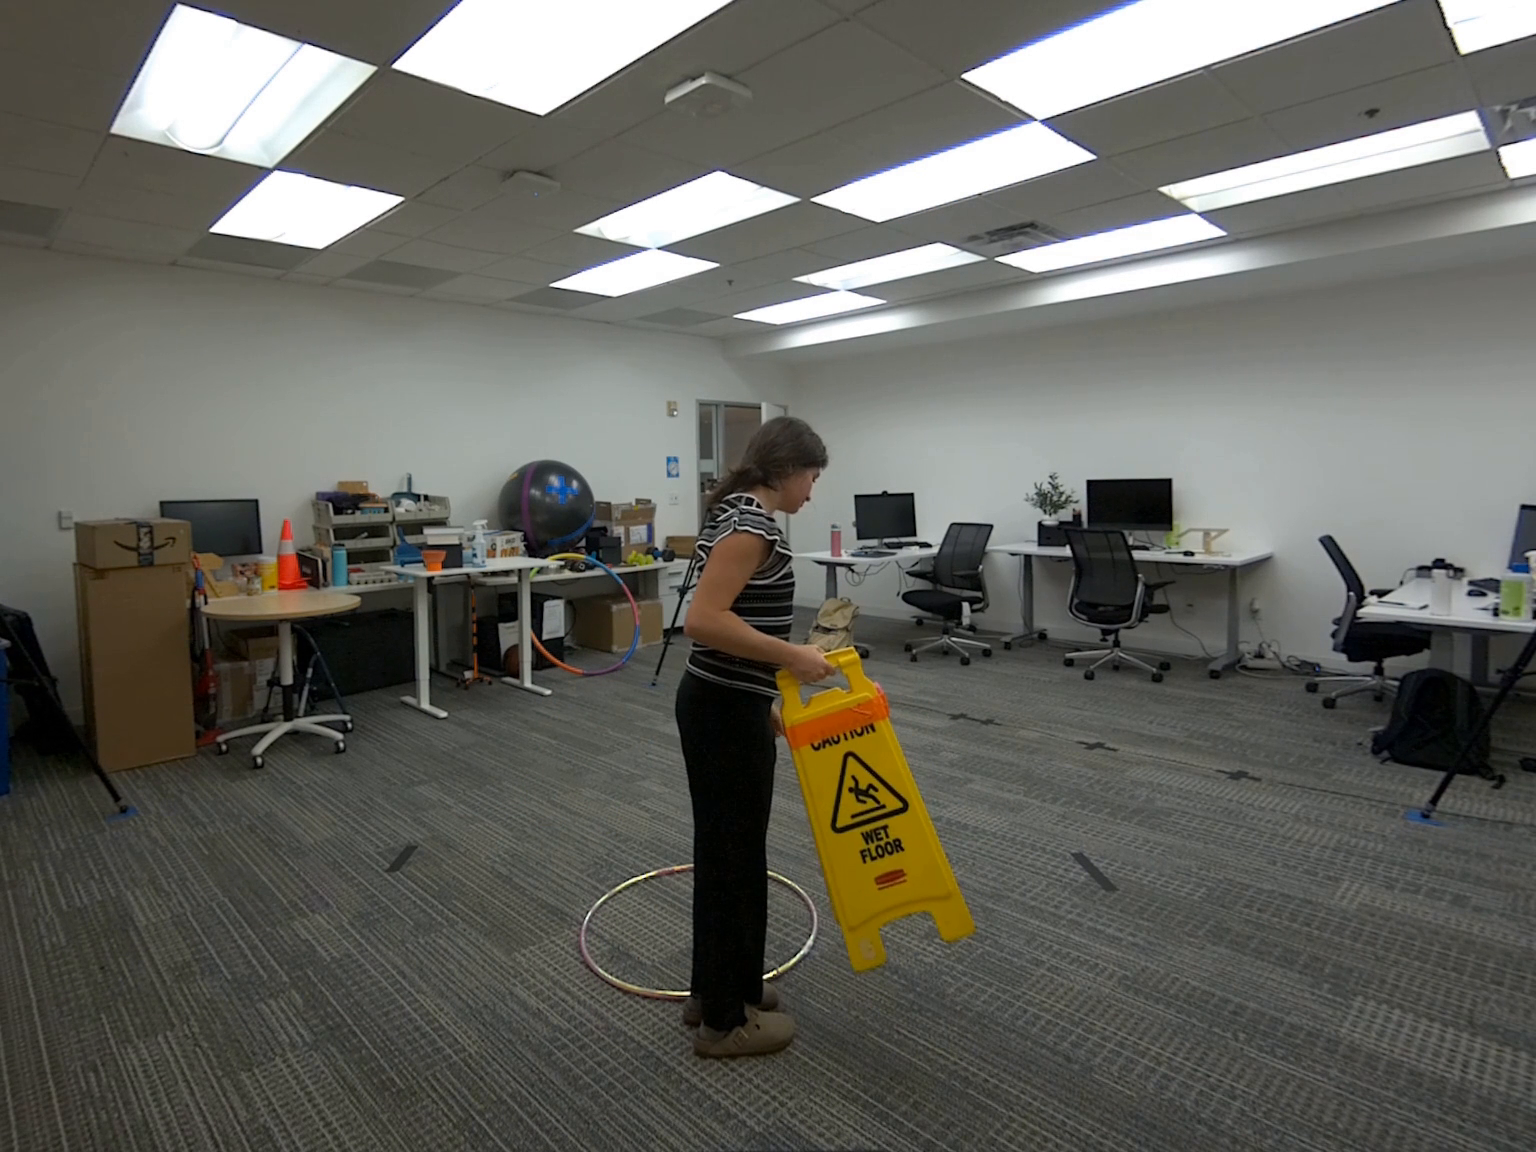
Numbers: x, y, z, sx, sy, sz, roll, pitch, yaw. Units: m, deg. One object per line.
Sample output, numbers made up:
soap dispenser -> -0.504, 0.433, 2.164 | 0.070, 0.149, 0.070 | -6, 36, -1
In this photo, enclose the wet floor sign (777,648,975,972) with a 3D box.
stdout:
wet floor sign -> 0.212, 0.497, 1.976 | 0.282, 0.646, 0.290 | -17, 0, -2
